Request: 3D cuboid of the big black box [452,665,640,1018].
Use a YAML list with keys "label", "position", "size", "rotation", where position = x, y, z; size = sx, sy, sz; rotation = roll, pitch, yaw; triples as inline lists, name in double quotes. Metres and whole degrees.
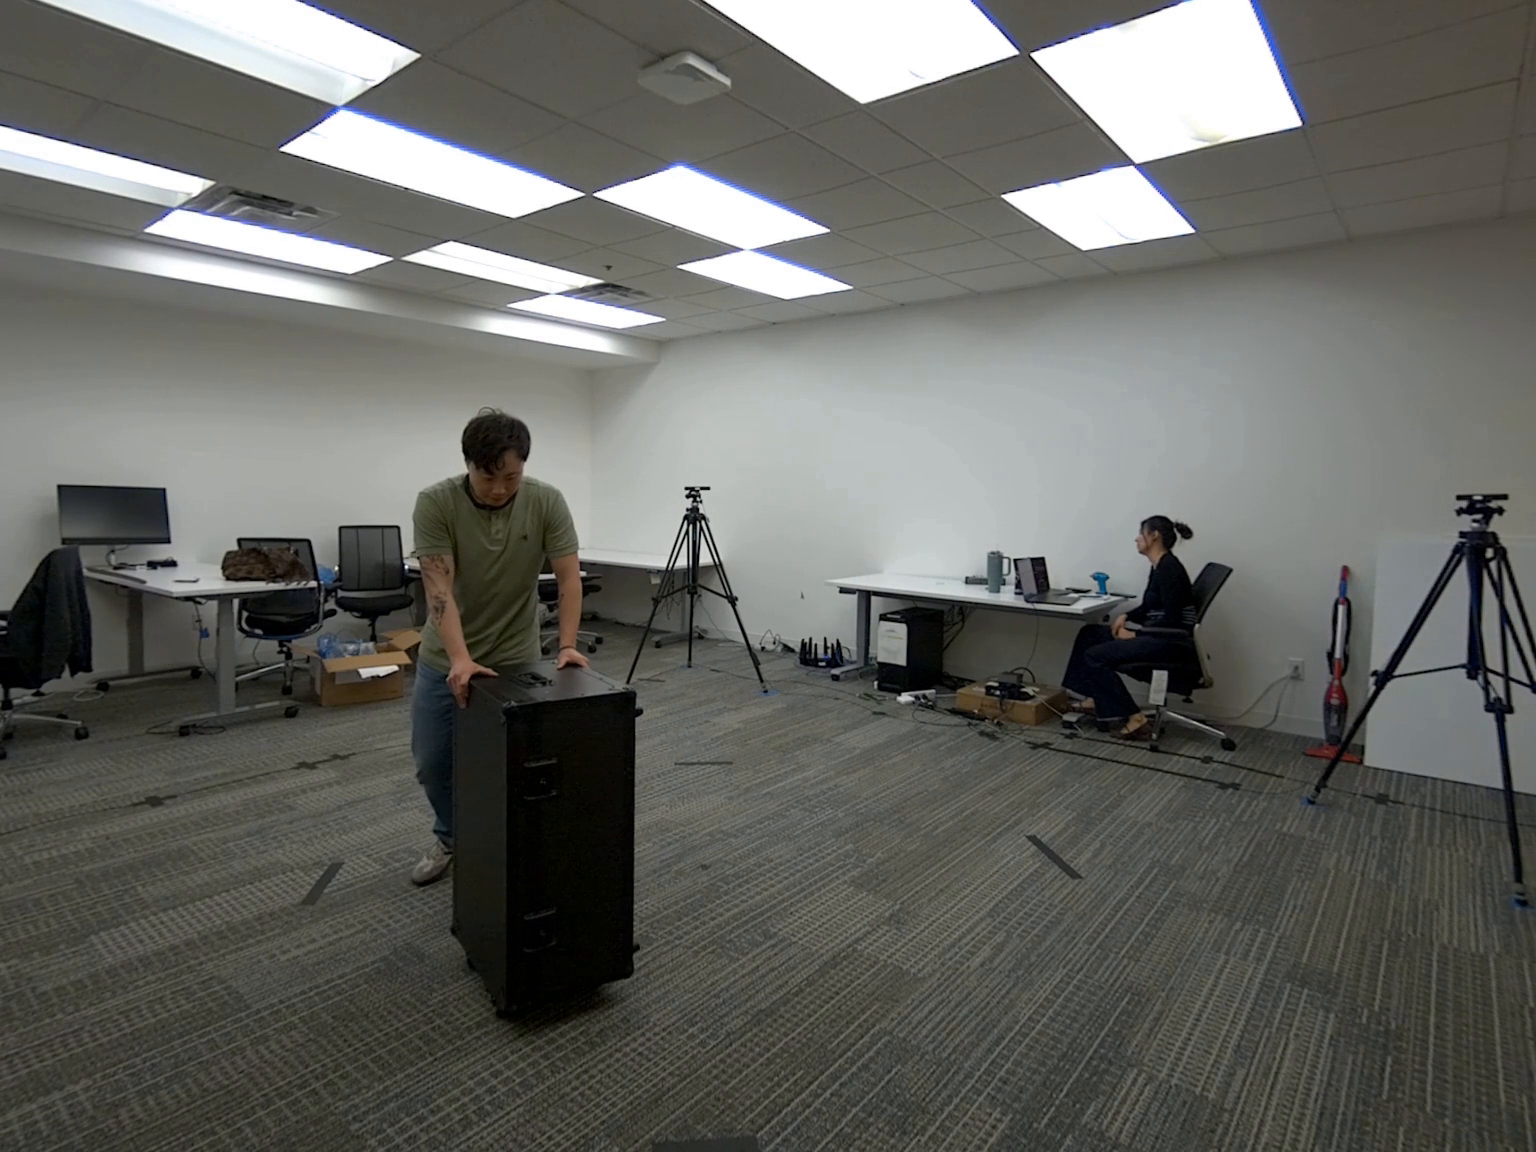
- label: "big black box"
  position: [-0.640, 0.708, 2.385]
  size: [0.385, 0.859, 0.538]
  rotation: [0, 3, -35]
